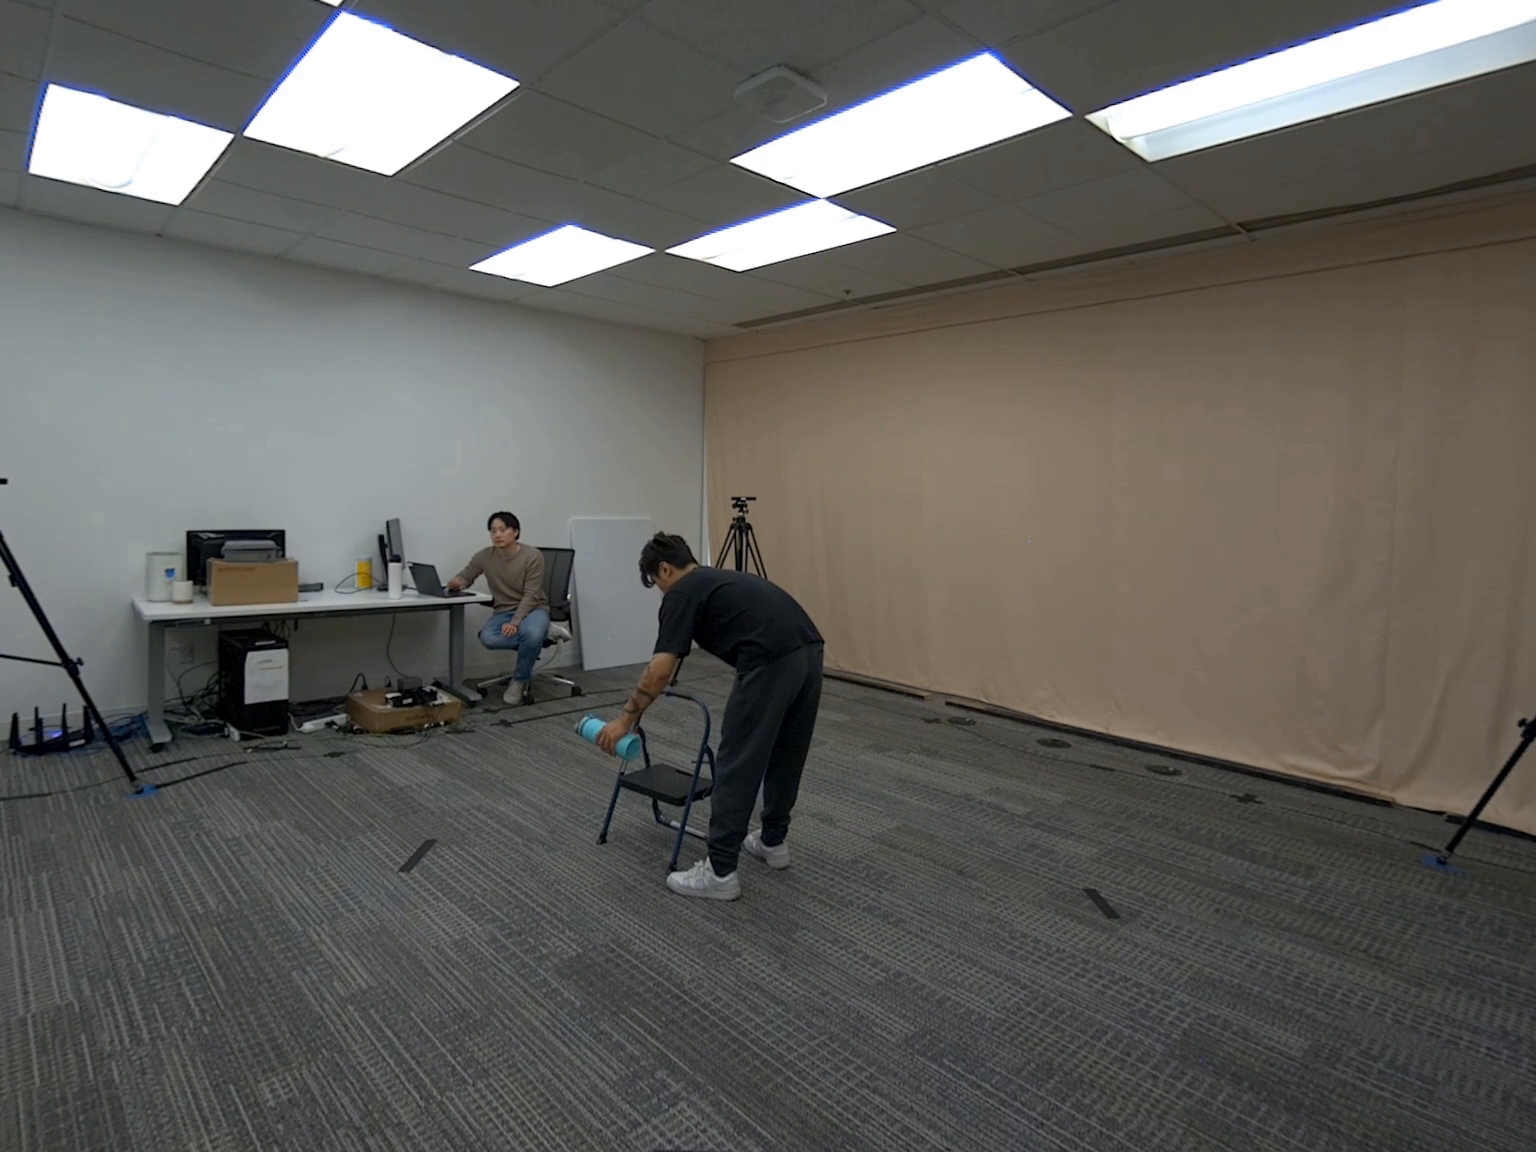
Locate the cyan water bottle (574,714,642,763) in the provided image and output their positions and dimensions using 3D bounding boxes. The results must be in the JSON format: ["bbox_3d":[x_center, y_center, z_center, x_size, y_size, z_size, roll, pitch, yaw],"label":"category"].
[{"bbox_3d":[-0.575,0.576,3.047,0.291,0.092,0.090,14,10,32],"label":"cyan water bottle"}]
